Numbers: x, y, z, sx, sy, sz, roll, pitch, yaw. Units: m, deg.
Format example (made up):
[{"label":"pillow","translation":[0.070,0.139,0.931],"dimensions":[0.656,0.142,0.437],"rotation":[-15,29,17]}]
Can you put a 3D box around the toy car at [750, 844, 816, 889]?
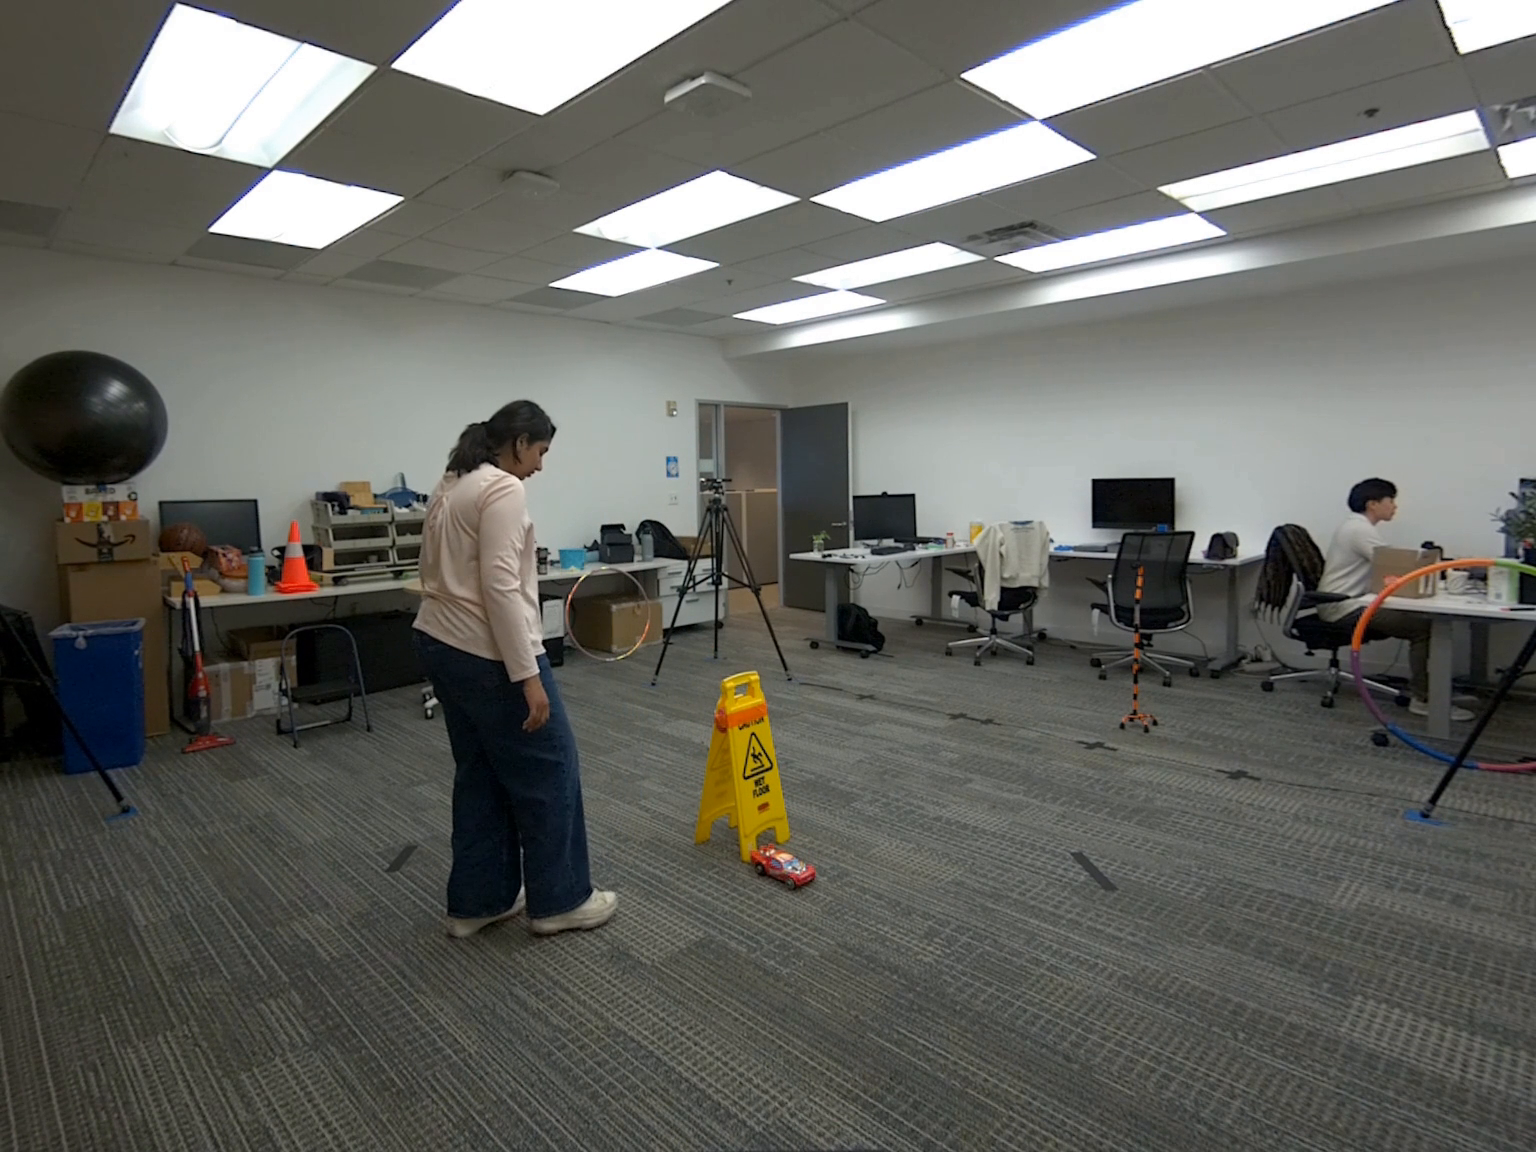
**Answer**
[{"label":"toy car","translation":[0.049,1.025,3.005],"dimensions":[0.127,0.082,0.264],"rotation":[-6,19,-42]}]
